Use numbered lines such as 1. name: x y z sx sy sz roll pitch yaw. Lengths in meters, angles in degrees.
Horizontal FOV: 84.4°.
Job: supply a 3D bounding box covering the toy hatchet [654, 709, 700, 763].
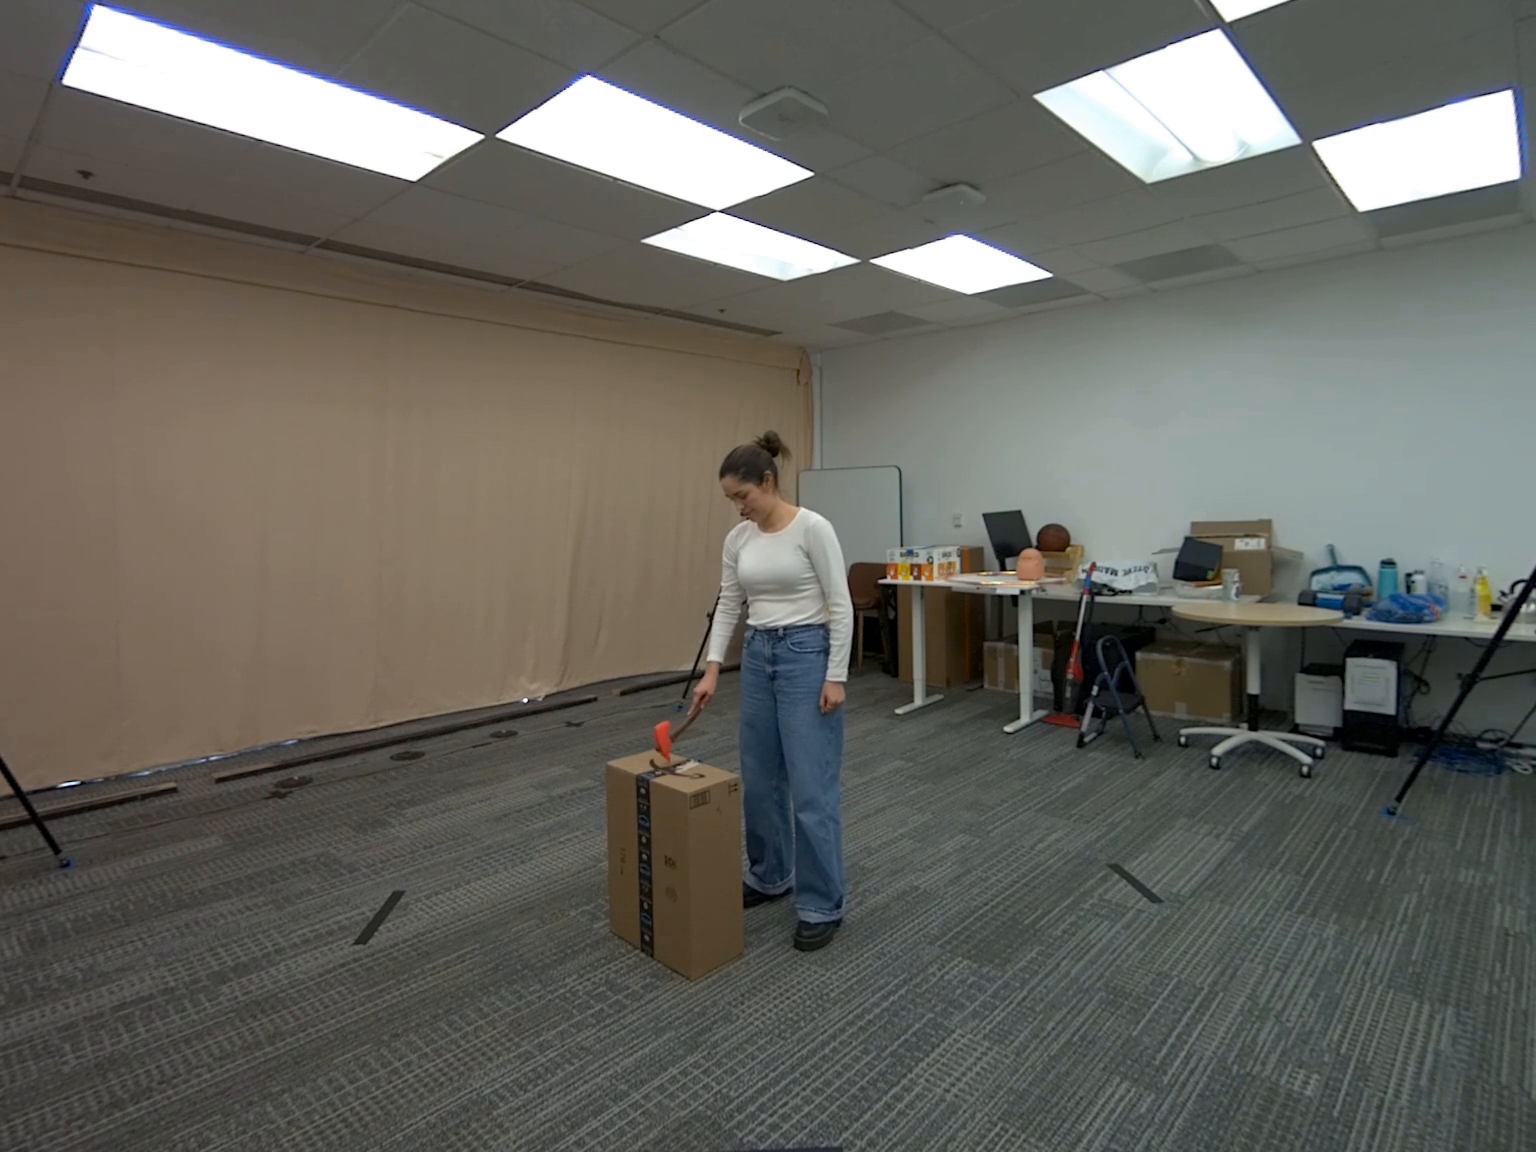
1. toy hatchet: -0.295 0.470 2.762 0.030 0.127 0.269 -1 45 43
